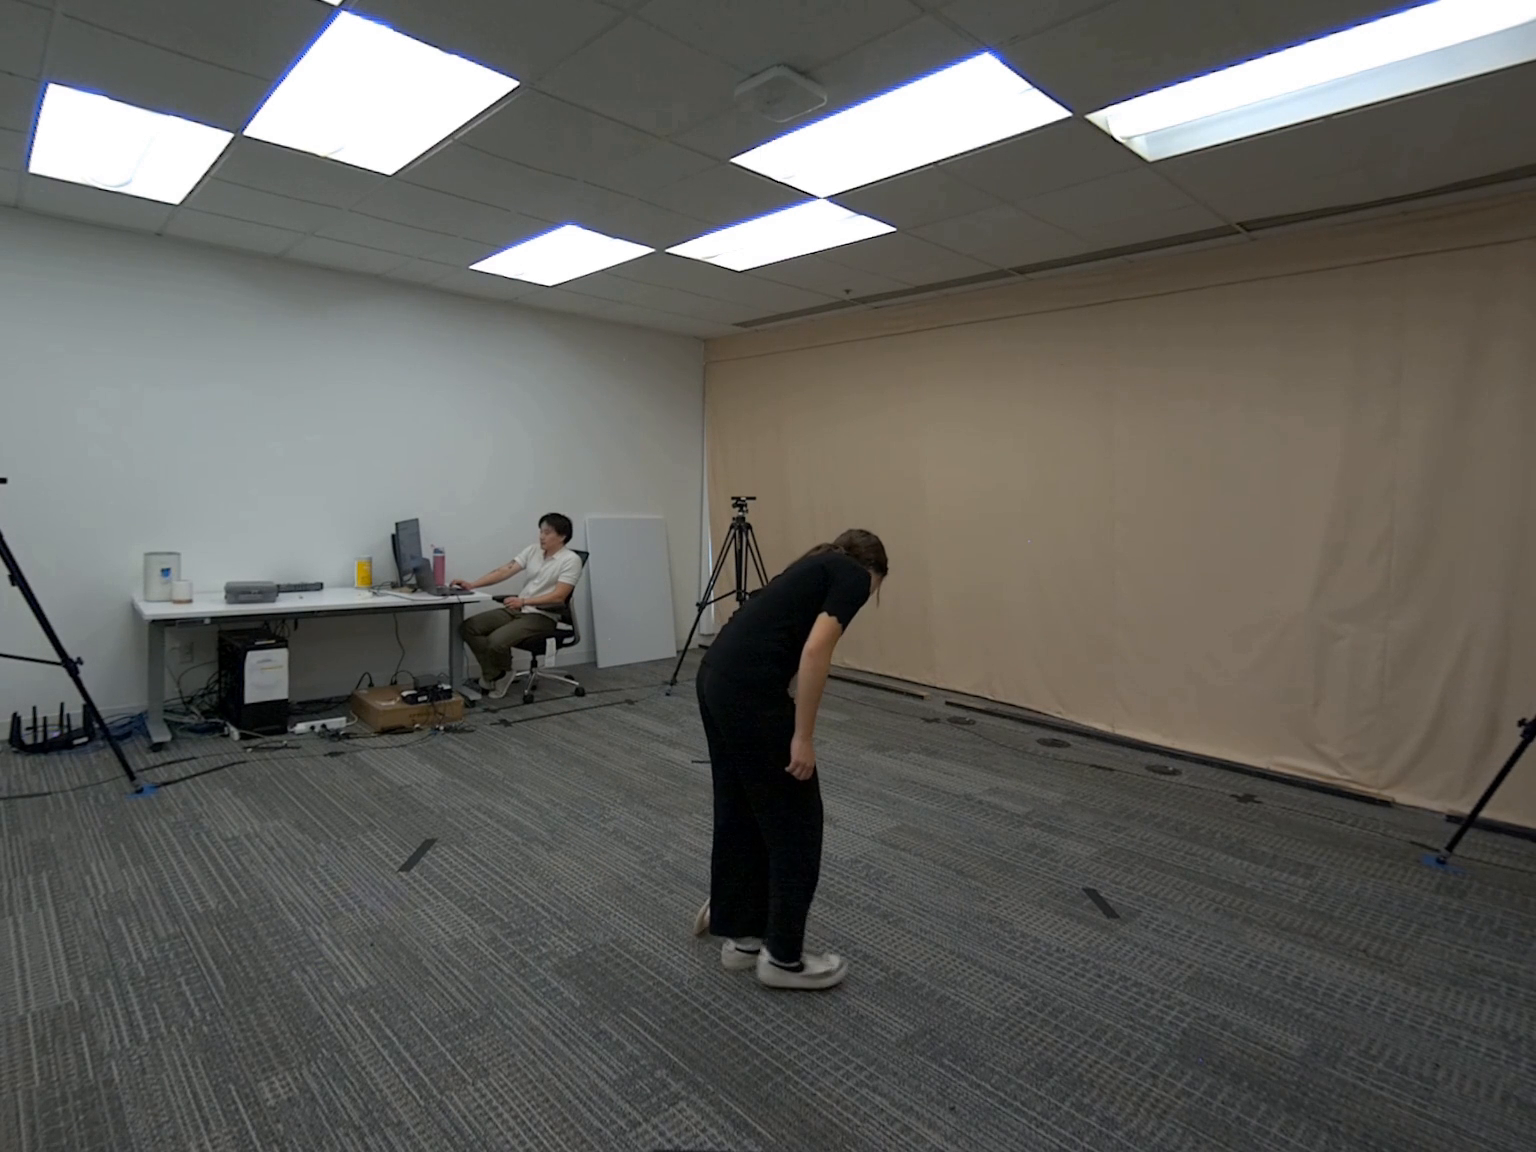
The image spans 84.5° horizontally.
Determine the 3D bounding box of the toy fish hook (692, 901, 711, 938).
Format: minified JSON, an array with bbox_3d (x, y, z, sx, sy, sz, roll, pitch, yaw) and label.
[{"bbox_3d":[-0.111,0.925,2.661,0.049,0.504,0.222,28,12,14],"label":"toy fish hook"}]
